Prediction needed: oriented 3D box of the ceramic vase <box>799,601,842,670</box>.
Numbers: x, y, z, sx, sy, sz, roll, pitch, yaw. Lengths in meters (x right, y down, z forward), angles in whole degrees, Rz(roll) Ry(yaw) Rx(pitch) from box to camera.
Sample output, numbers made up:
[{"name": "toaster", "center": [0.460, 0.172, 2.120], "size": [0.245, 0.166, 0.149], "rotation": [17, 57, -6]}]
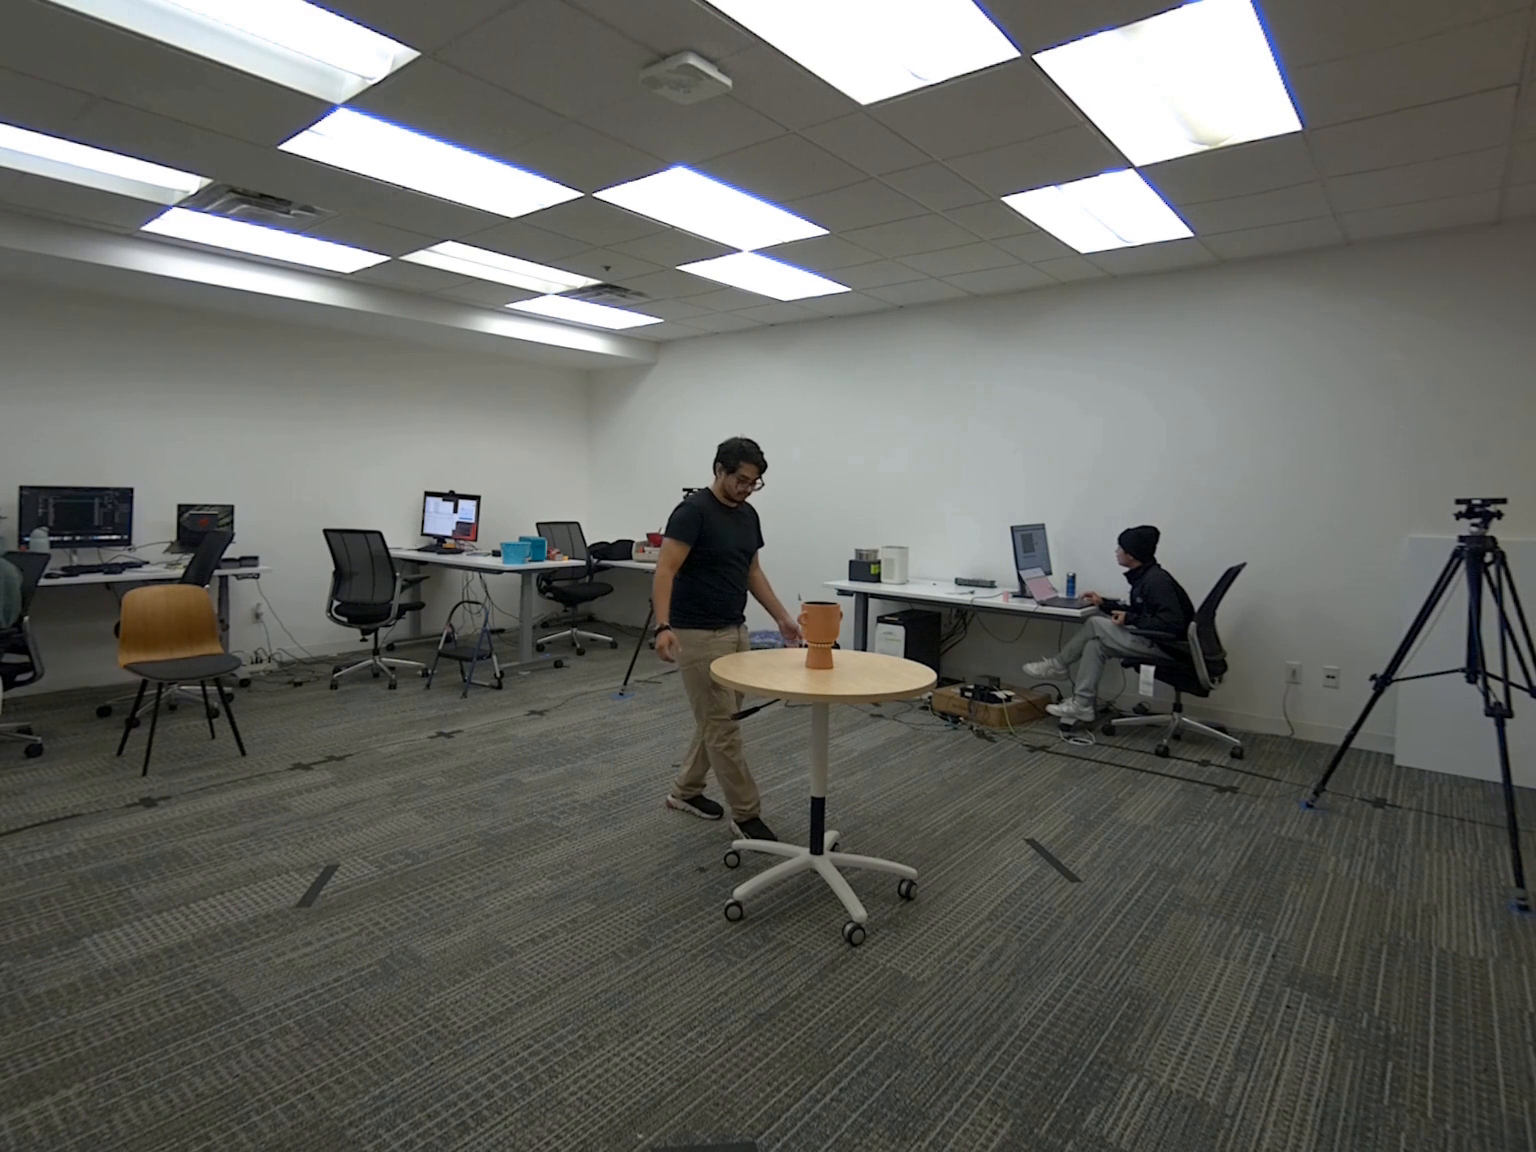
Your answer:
[{"name": "ceramic vase", "center": [0.181, 0.205, 2.939], "size": [0.160, 0.219, 0.134], "rotation": [2, 2, 4]}]
